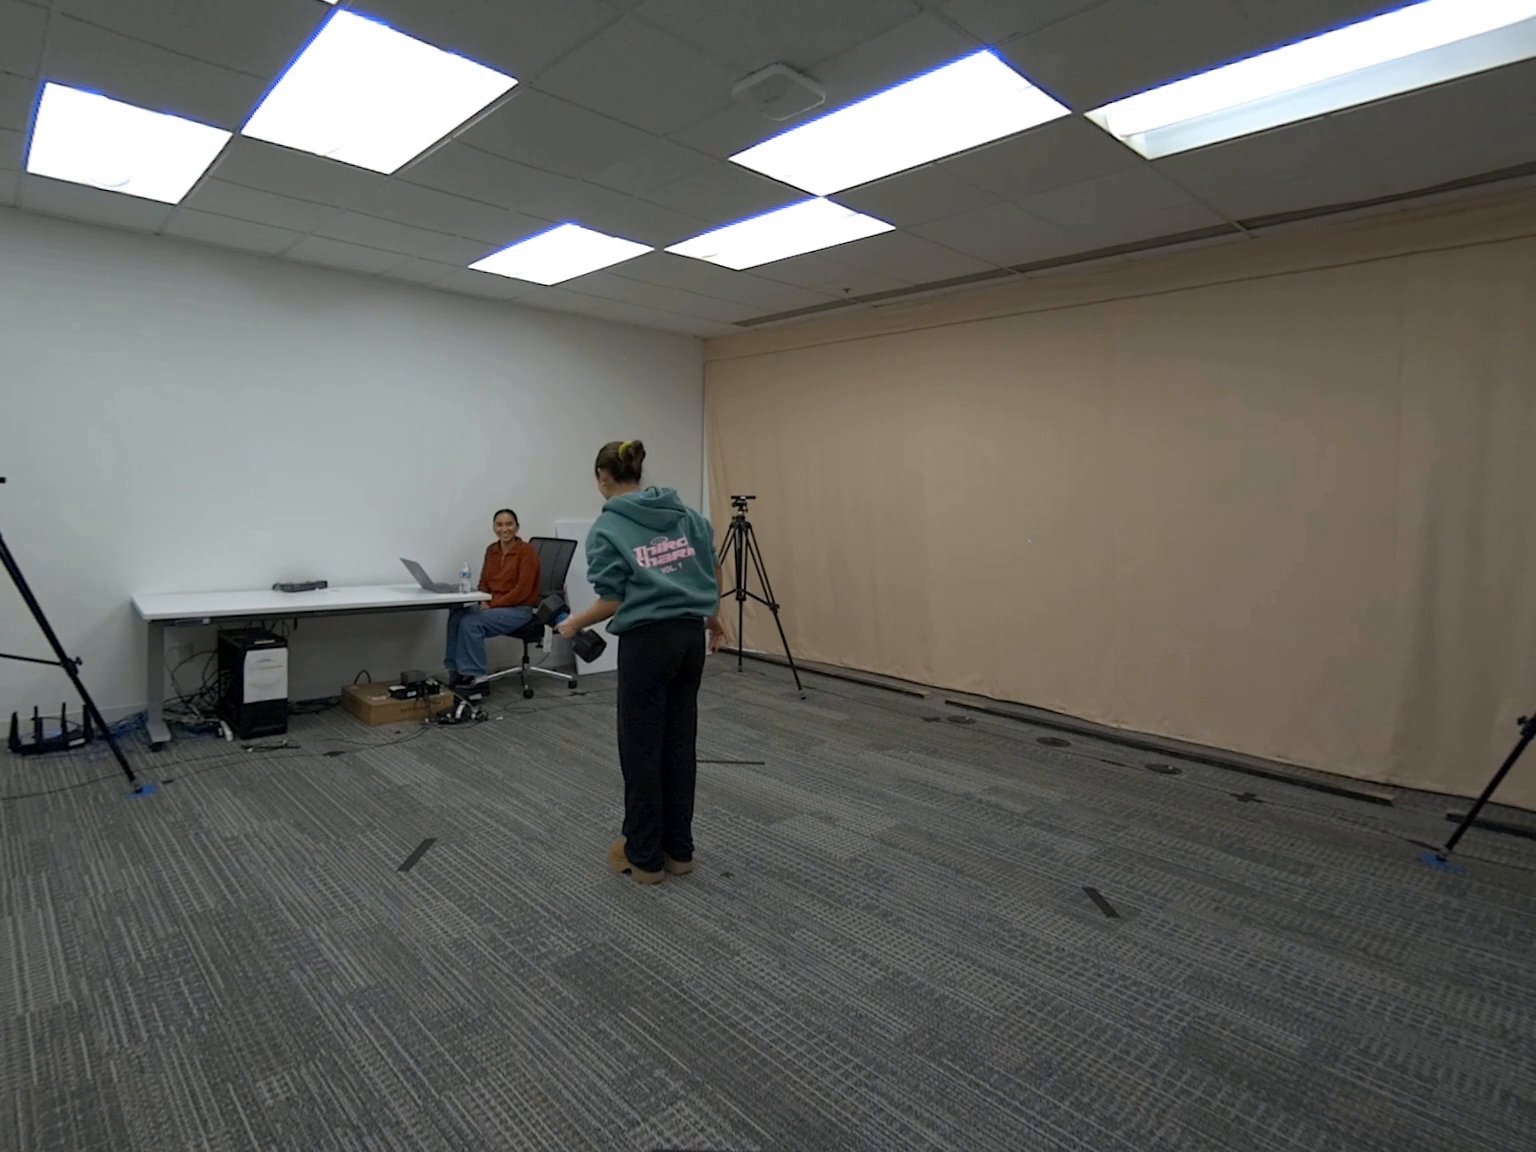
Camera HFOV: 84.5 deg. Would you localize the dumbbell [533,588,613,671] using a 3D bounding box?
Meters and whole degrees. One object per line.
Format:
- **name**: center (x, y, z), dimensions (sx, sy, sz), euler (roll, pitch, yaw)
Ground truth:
- **dumbbell**: center (-0.742, 0.199, 3.207), dimensions (0.299, 0.107, 0.122), euler (40, 48, 19)
